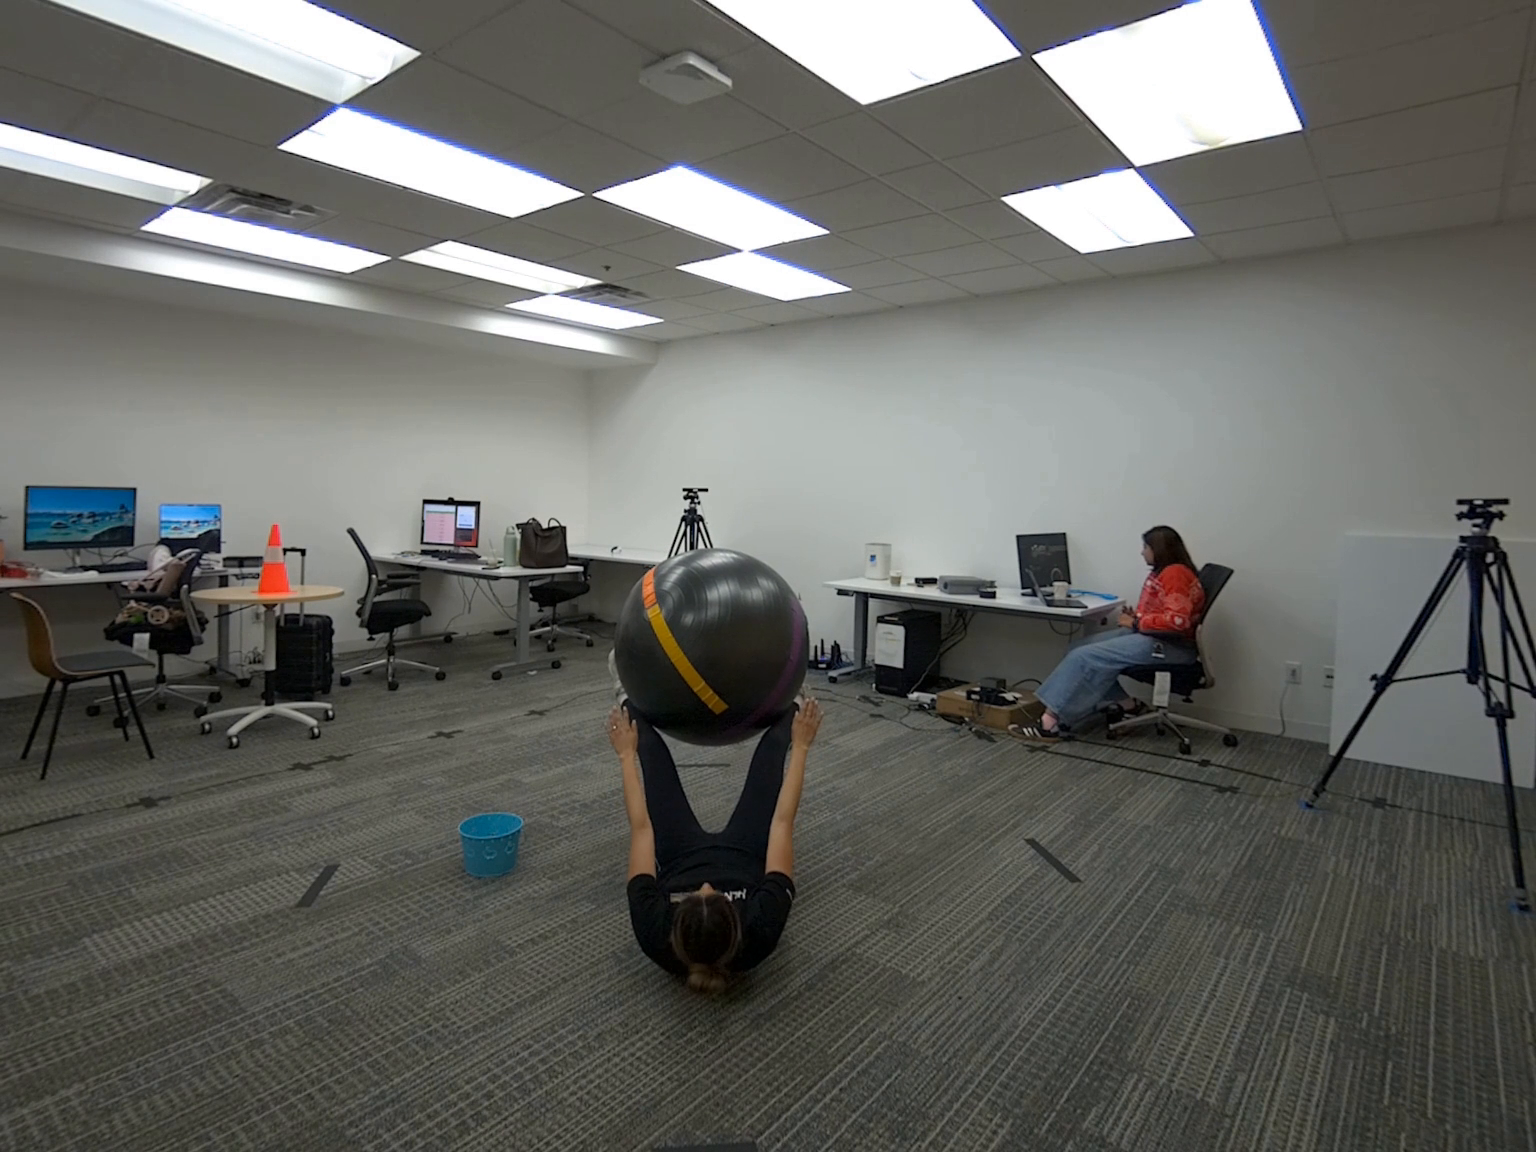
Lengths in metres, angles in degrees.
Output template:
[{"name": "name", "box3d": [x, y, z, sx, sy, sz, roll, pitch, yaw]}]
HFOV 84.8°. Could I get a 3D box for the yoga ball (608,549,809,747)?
[{"name": "yoga ball", "box3d": [-0.218, 0.270, 3.291, 0.757, 0.756, 0.762, 1, 4, -2]}]
